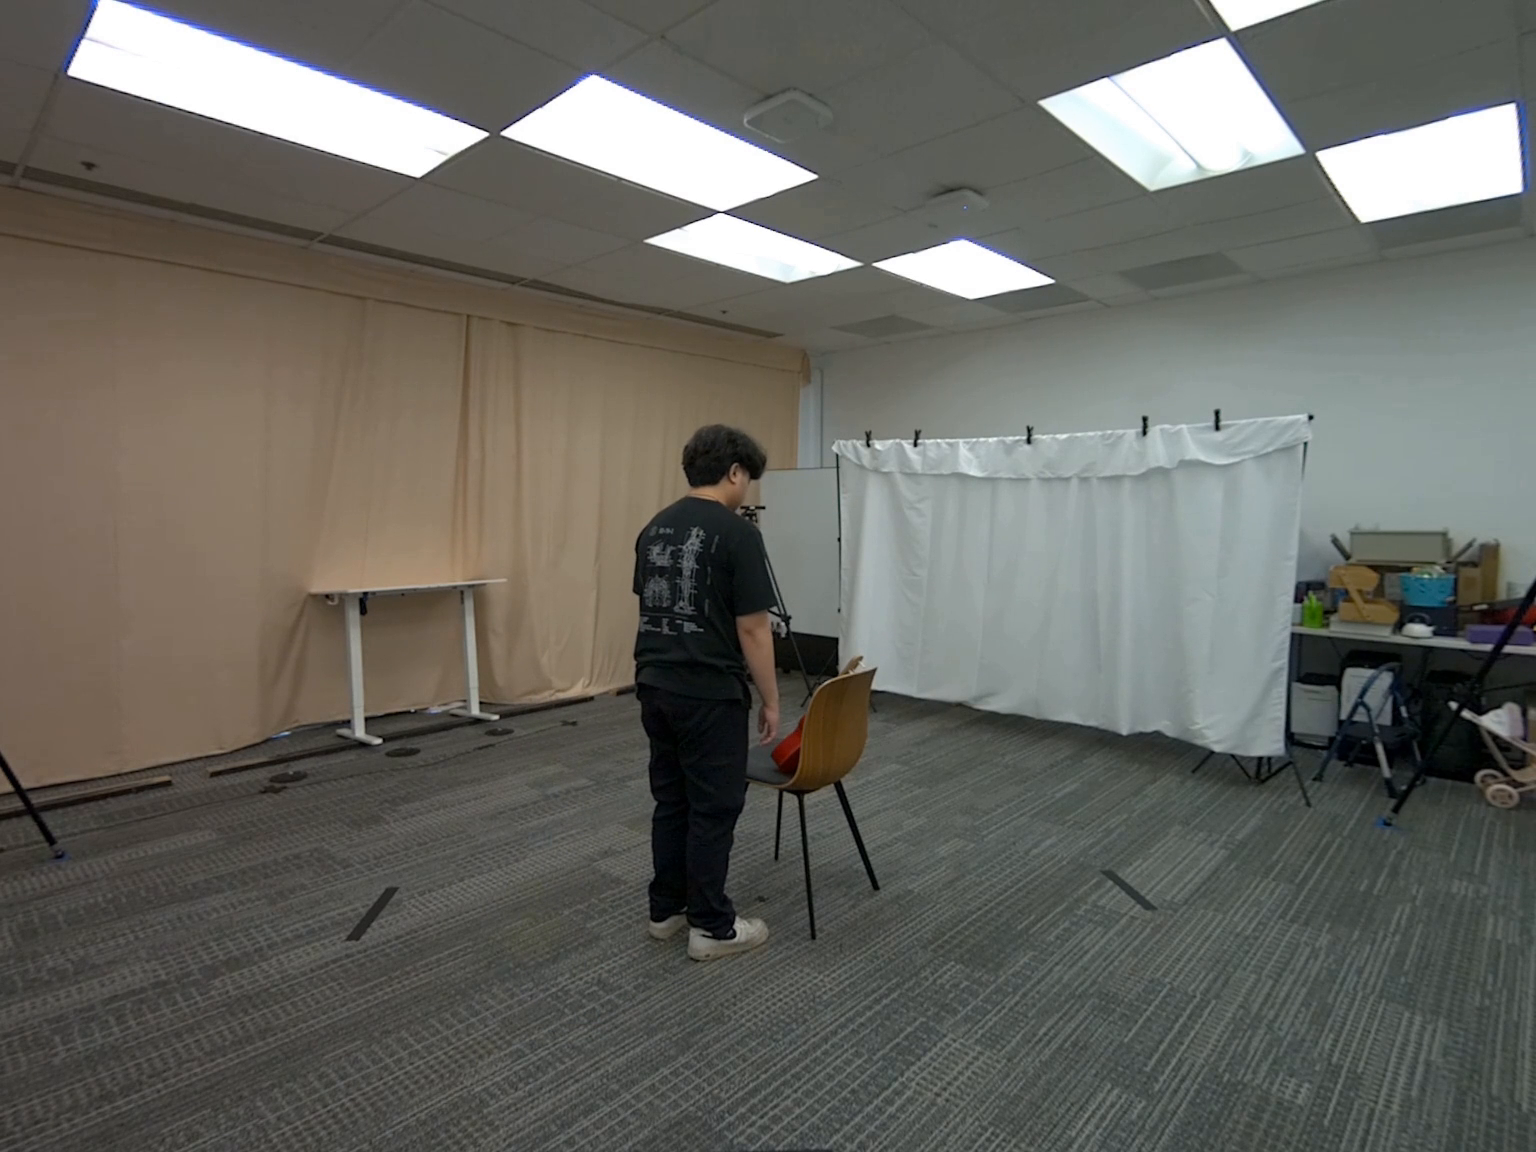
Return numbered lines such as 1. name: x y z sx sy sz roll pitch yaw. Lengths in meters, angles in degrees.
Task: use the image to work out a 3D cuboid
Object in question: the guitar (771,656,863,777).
1. guitar: 0.168 0.466 2.855 0.187 0.497 0.073 -7 43 -49
